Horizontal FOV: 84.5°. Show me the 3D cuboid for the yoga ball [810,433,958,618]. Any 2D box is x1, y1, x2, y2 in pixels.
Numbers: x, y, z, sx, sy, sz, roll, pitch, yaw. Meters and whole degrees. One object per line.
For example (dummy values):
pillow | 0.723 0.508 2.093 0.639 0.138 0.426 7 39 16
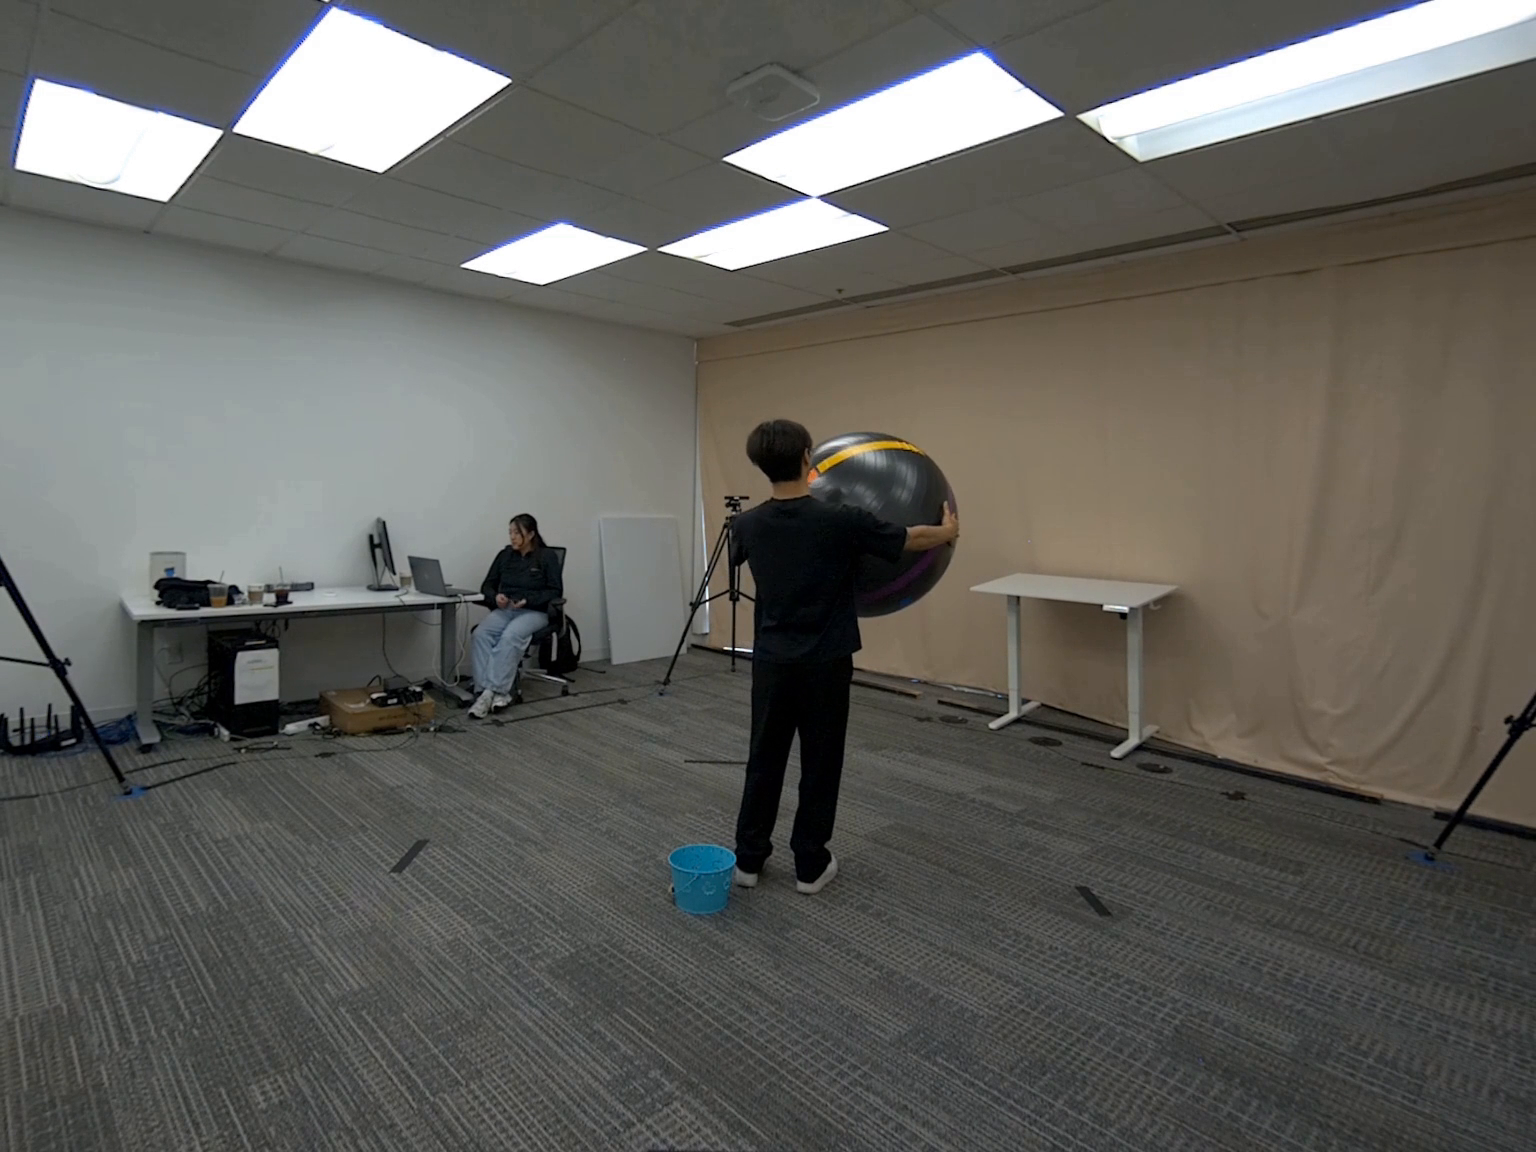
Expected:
yoga ball | 0.384 -0.202 3.455 0.757 0.756 0.761 1 4 -1
